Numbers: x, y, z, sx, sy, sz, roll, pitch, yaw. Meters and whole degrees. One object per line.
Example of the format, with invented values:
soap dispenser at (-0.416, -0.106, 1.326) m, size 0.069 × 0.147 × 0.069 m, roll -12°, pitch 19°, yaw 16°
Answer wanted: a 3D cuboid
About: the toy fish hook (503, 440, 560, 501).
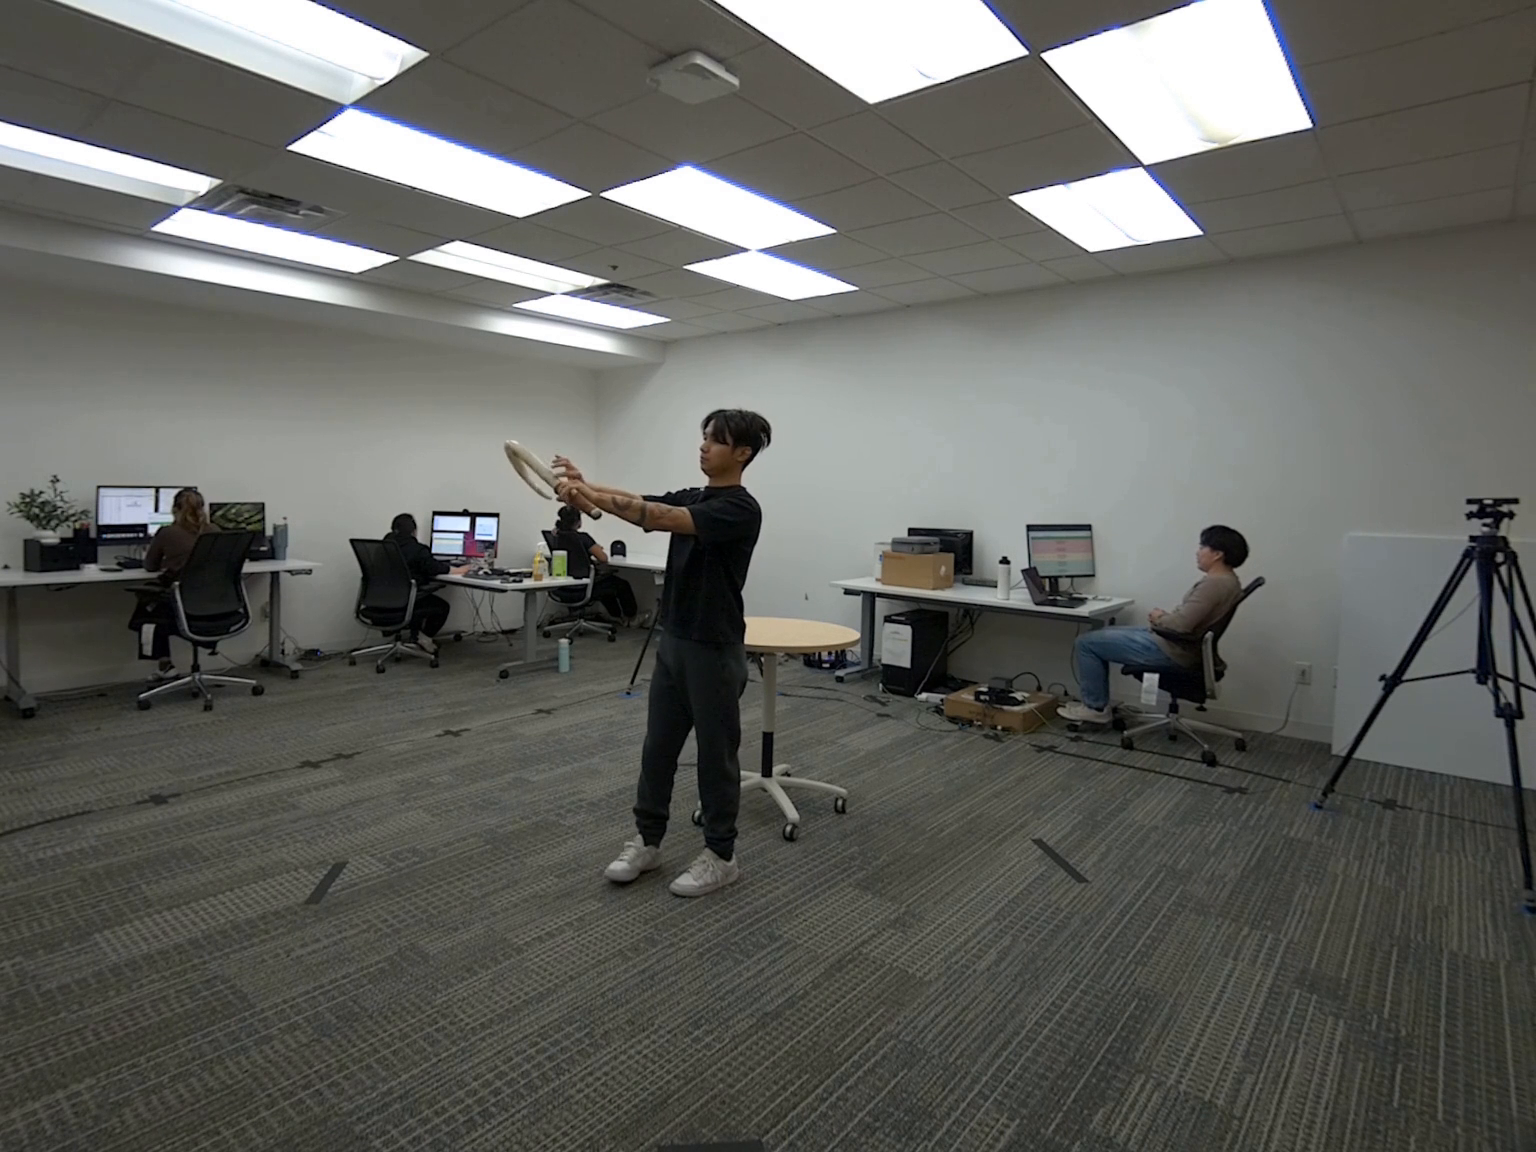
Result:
toy fish hook at (-0.694, -0.279, 2.747) m, size 0.048 × 0.217 × 0.526 m, roll -41°, pitch 57°, yaw -21°
